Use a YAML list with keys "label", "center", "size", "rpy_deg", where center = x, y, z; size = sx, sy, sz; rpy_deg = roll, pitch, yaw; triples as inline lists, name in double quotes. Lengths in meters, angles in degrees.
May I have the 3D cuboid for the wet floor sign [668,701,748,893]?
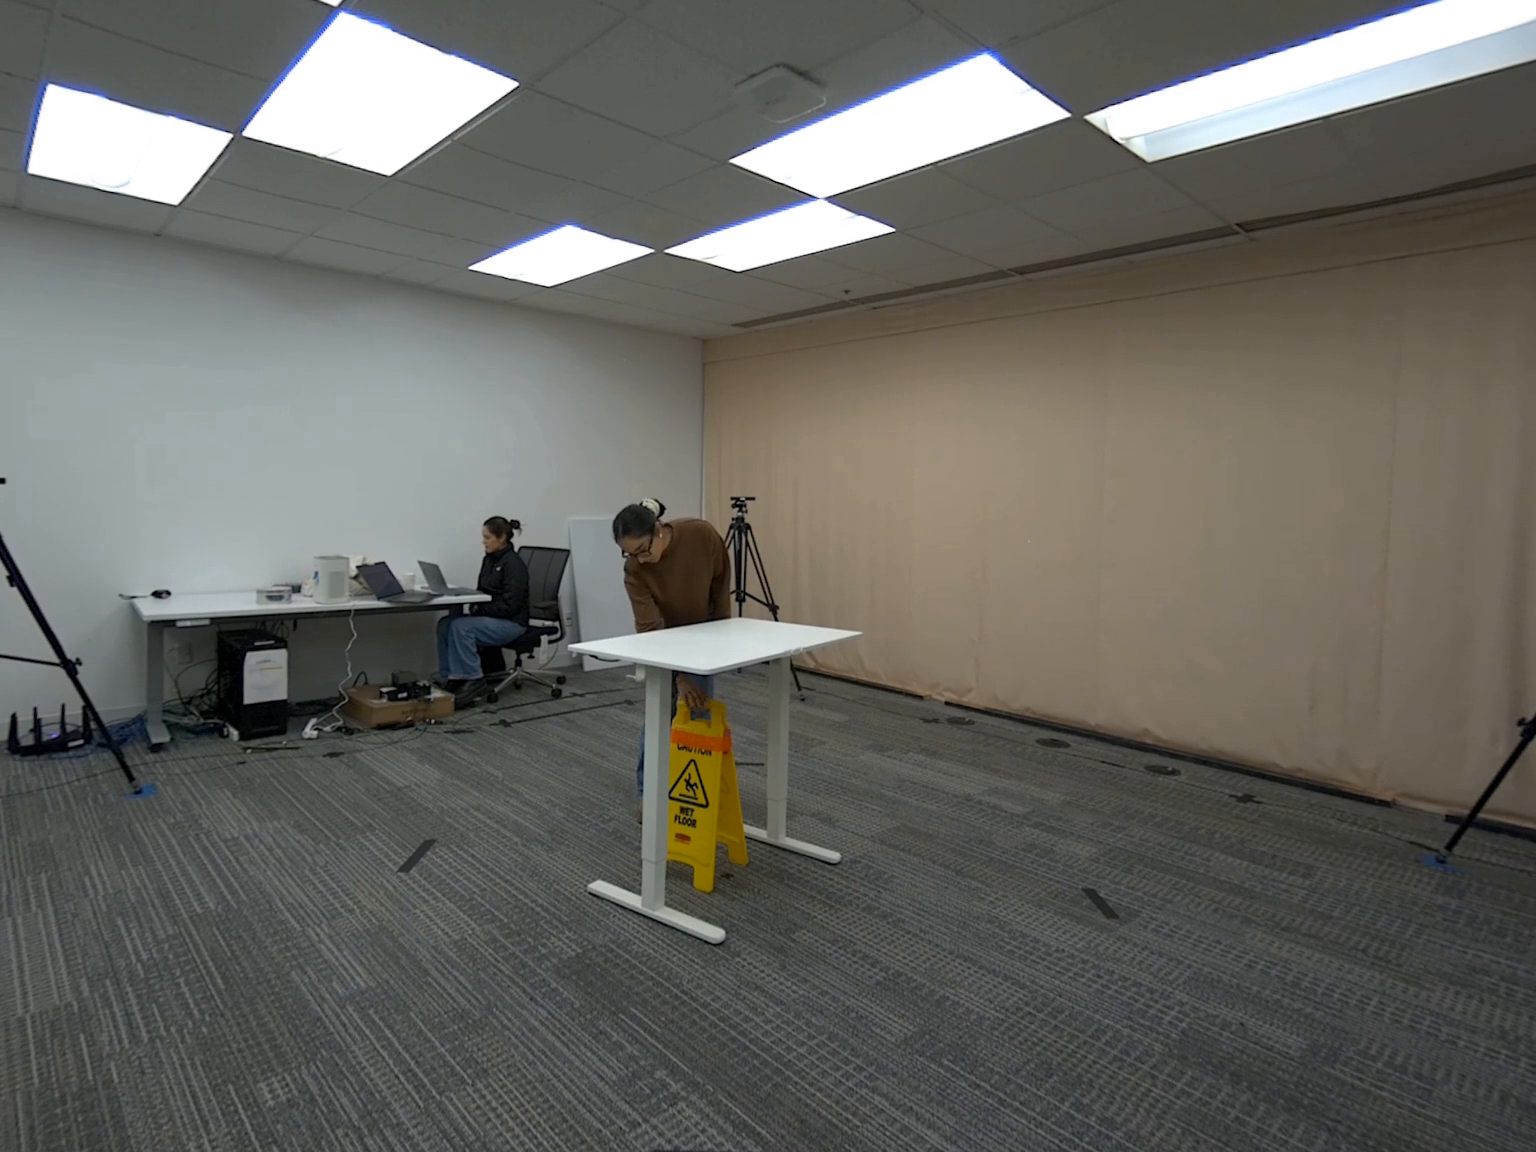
- label: "wet floor sign"
  center: [-0.262, 0.778, 3.130]
  size: [0.288, 0.645, 0.284]
  rpy_deg: [2, 3, 28]
